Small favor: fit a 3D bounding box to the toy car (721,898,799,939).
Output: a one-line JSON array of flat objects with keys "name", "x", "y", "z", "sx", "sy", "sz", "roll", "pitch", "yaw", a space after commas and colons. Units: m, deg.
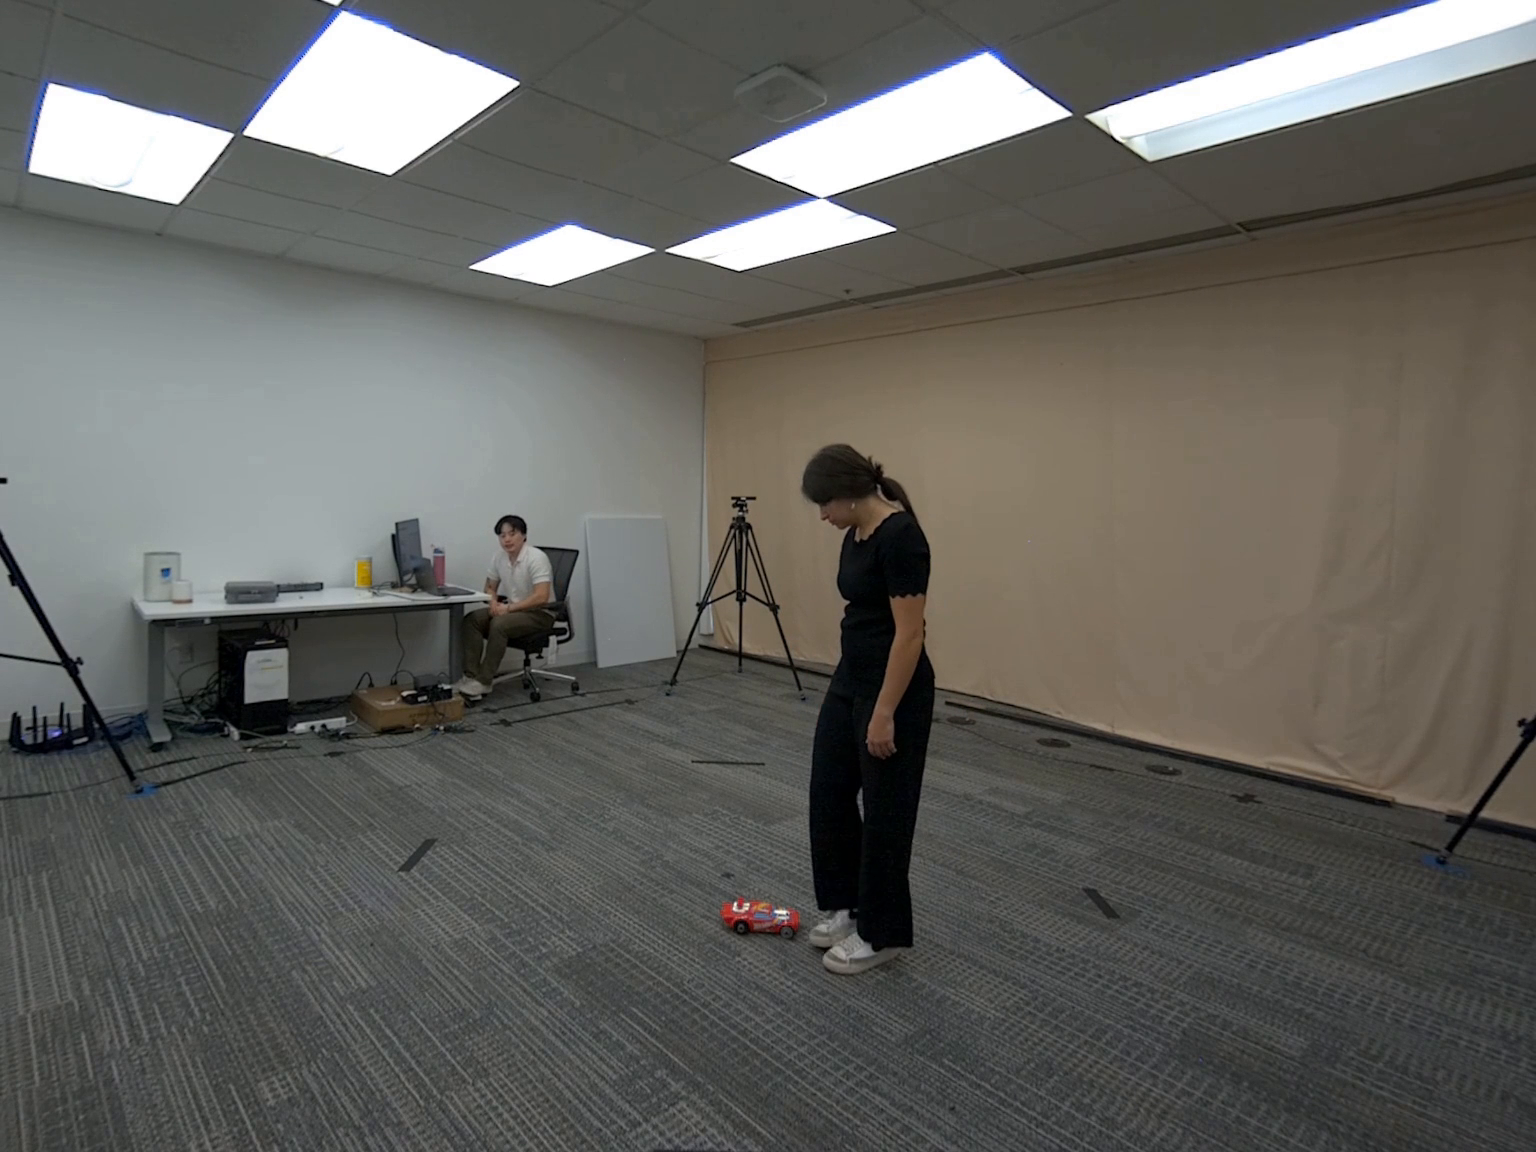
[{"name": "toy car", "x": -0.035, "y": 1.109, "z": 2.726, "sx": 0.256, "sy": 0.083, "sz": 0.130, "roll": 14, "pitch": 5, "yaw": 6}]
